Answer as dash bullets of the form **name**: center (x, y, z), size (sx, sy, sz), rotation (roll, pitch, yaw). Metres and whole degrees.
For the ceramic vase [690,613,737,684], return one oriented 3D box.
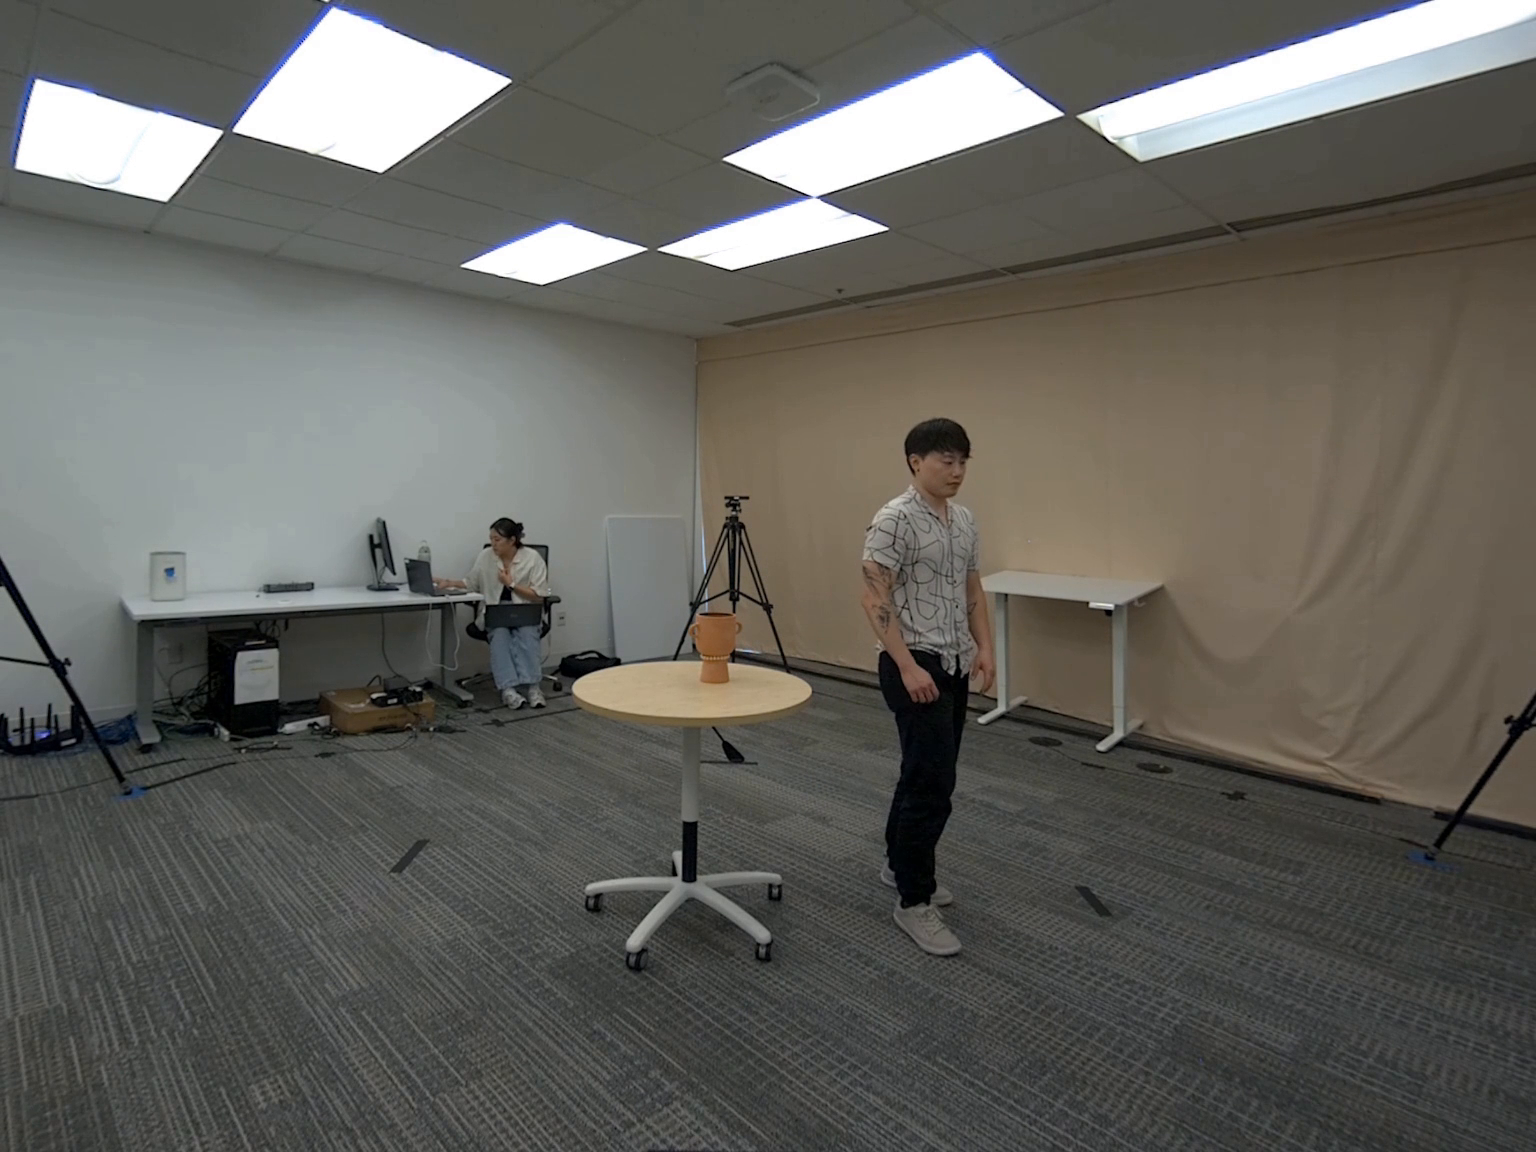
- **ceramic vase**: center (-0.174, 0.241, 2.786), size (0.160, 0.219, 0.134), rotation (2, 4, 9)
